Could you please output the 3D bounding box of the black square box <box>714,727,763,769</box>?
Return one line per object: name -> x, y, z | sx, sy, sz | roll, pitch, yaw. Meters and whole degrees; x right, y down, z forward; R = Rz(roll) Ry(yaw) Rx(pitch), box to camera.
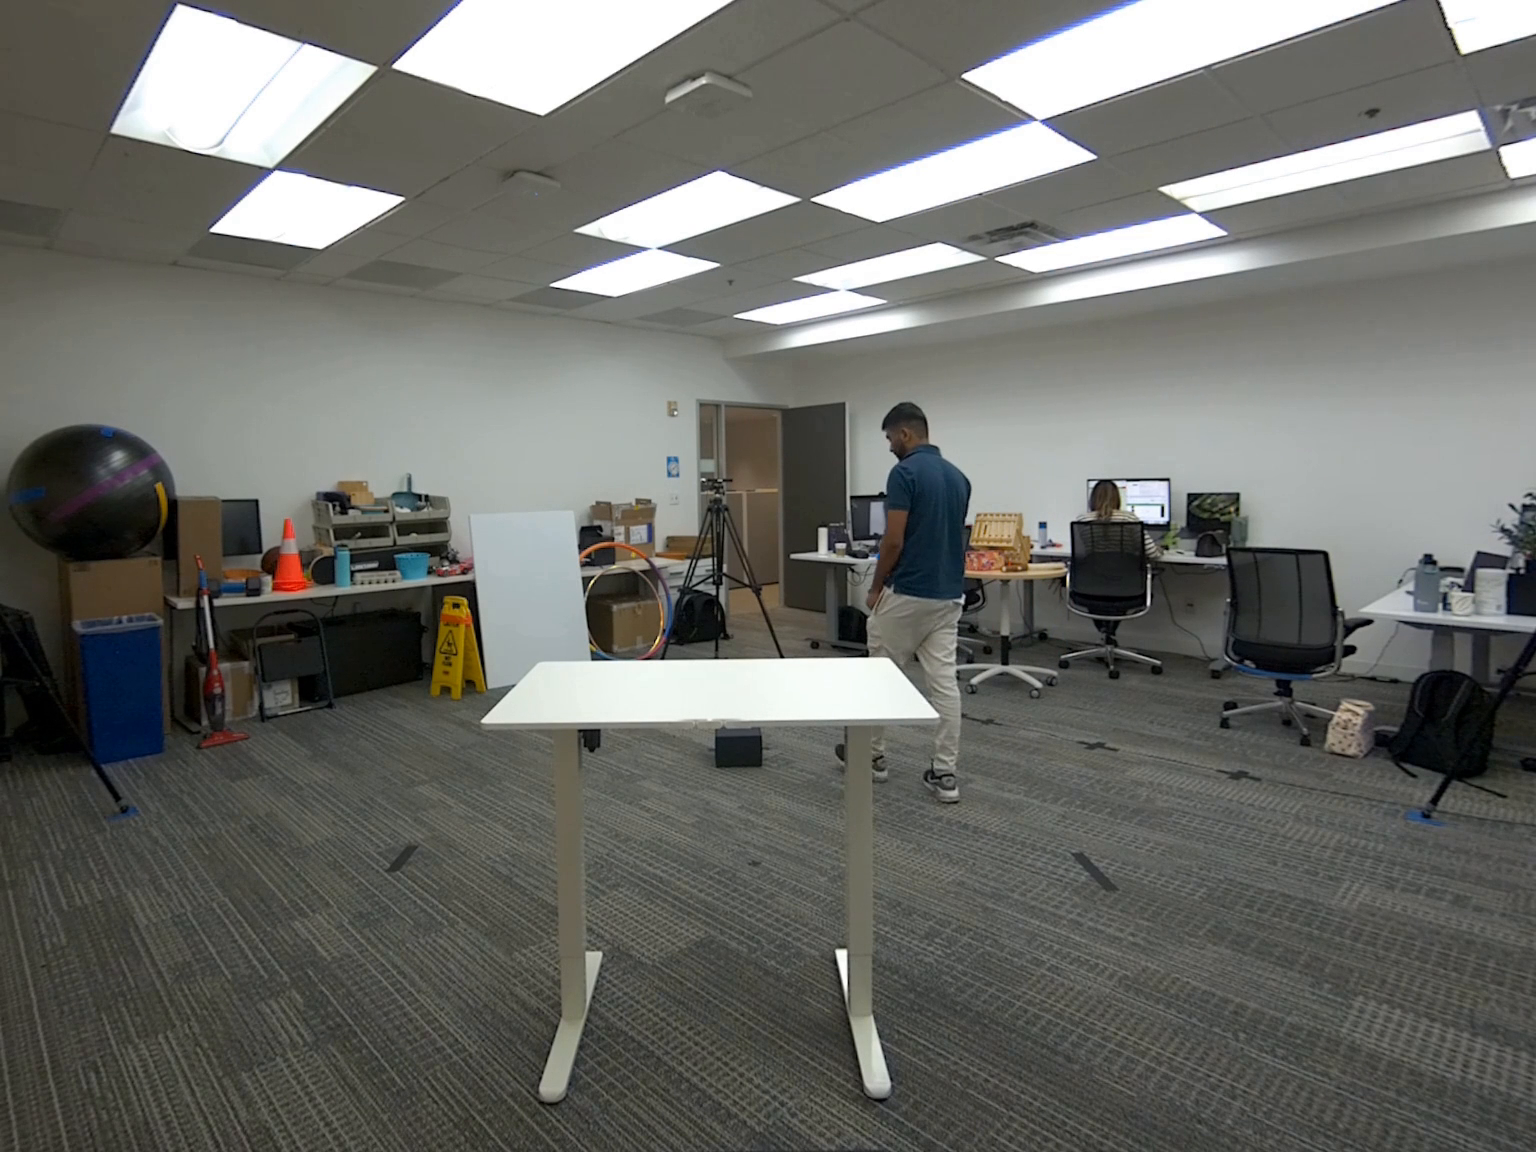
black square box -> -0.149, 0.835, 4.260 | 0.227, 0.155, 0.218 | -1, 6, -3
